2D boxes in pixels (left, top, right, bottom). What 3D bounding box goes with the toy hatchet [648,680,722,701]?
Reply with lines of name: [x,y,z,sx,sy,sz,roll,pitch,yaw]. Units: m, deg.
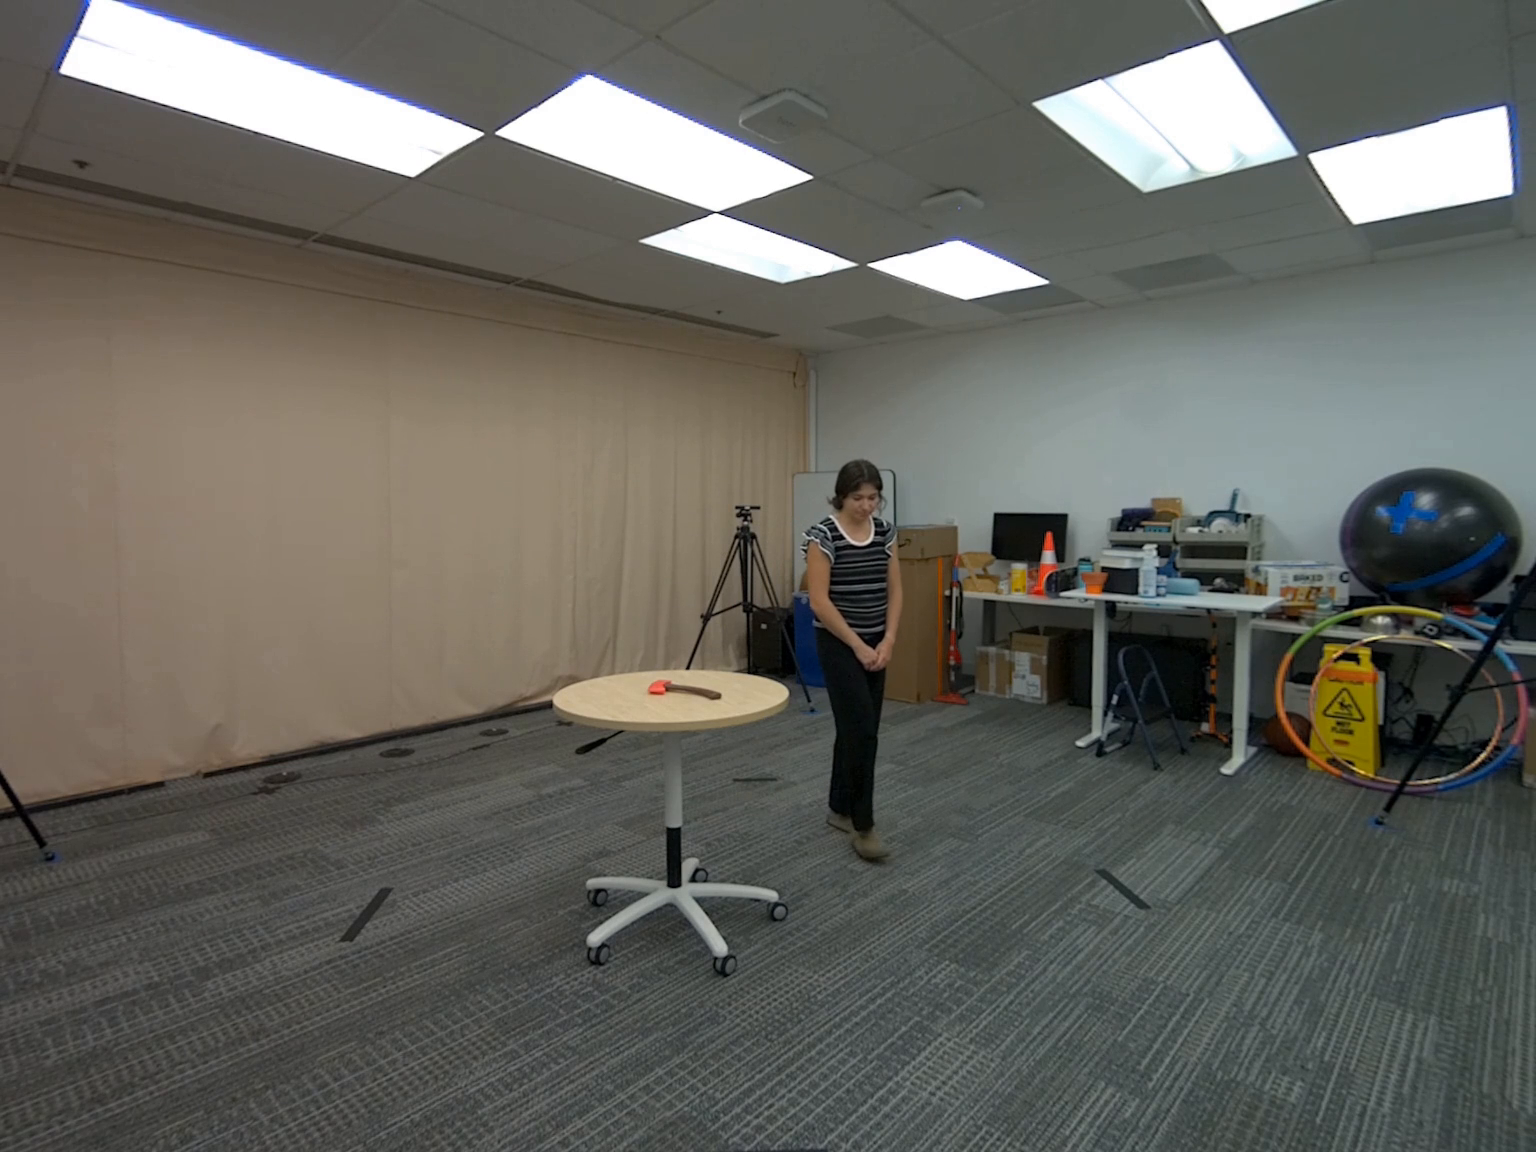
toy hatchet: [-0.274,0.371,2.707,0.127,0.029,0.279,-7,9,-44]
